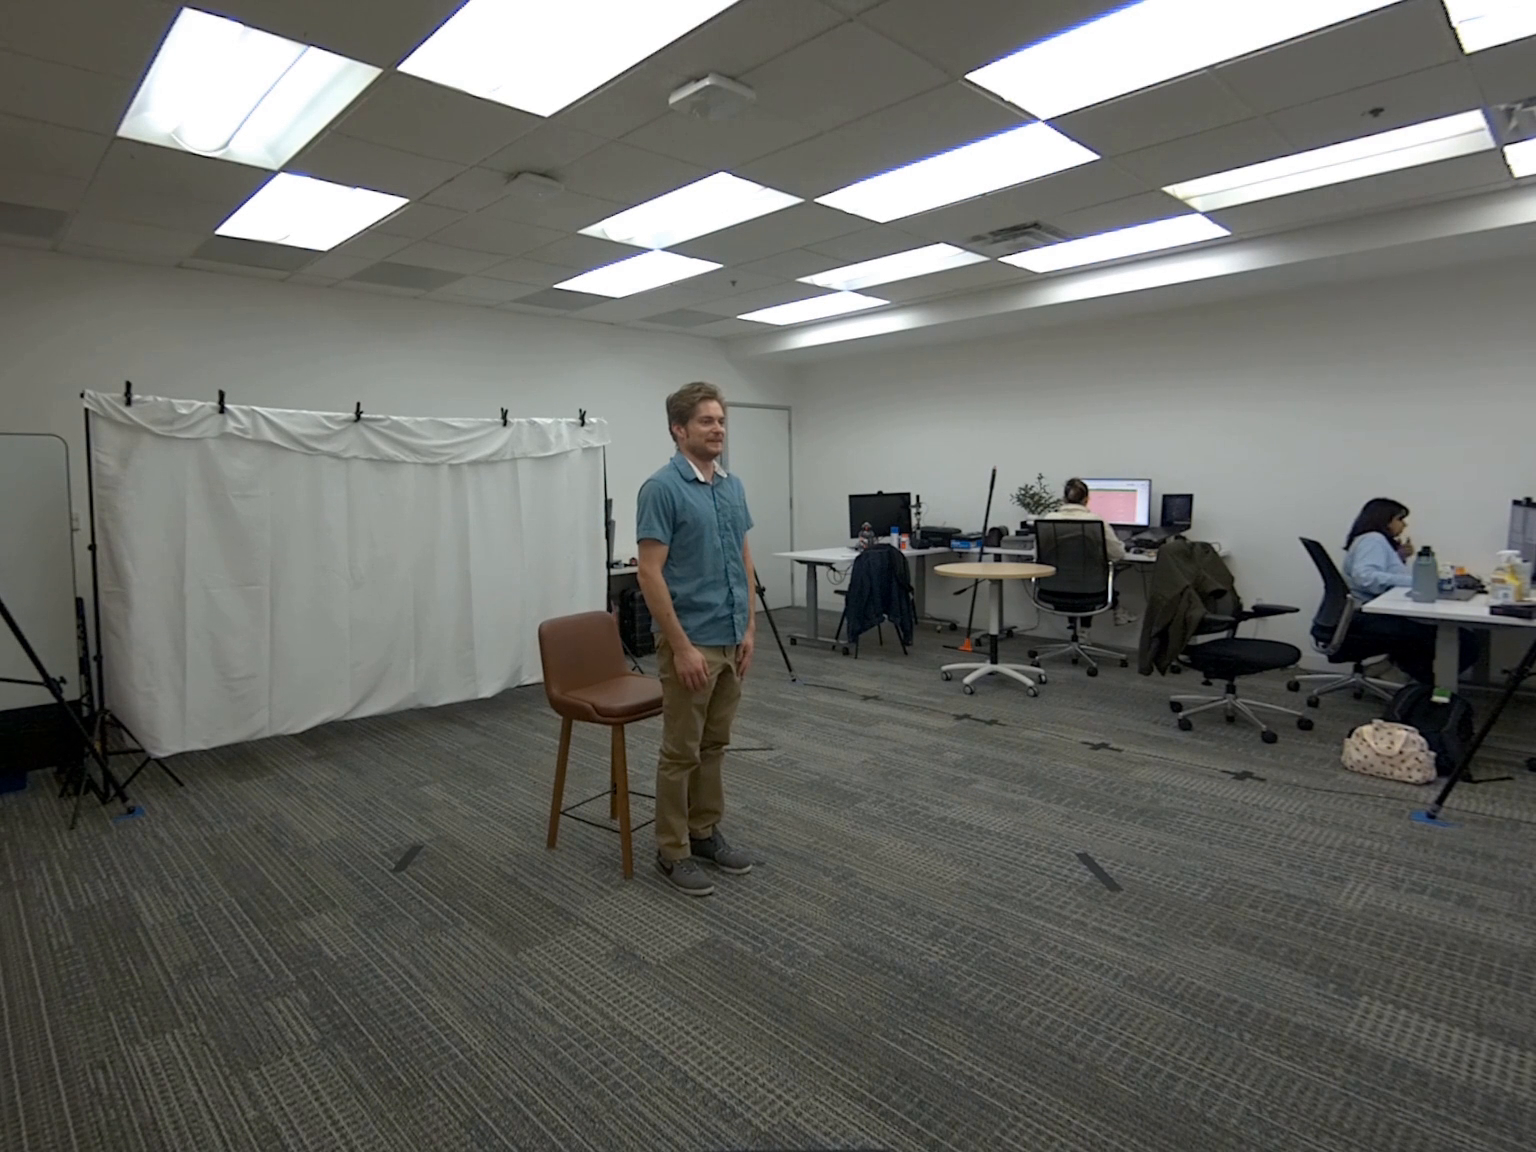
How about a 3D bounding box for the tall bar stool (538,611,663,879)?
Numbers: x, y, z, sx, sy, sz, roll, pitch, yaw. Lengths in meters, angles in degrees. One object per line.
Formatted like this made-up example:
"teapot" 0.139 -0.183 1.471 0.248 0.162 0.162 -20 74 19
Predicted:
"tall bar stool" -0.573 0.603 3.283 0.480 0.888 0.445 -1 2 36
